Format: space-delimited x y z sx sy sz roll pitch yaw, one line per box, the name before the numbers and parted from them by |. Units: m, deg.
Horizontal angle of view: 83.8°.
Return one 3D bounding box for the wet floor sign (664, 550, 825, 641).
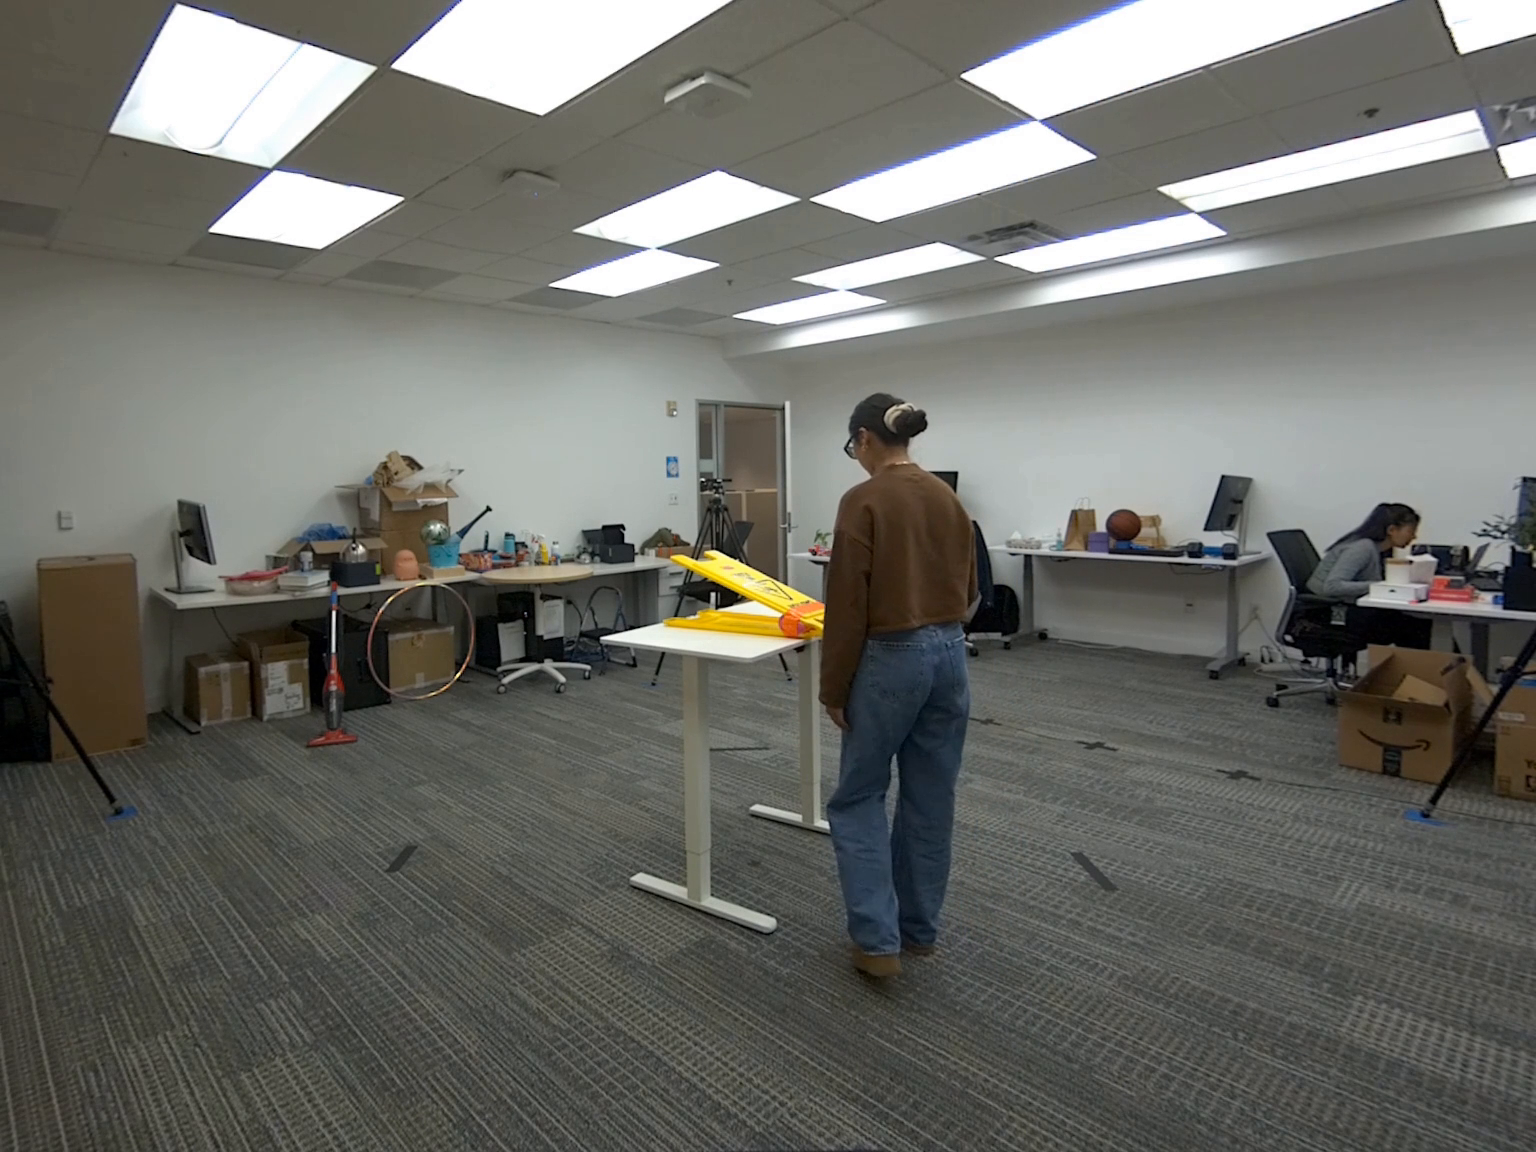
wet floor sign | -0.009 0.112 2.944 0.666 0.288 0.275 12 11 32
